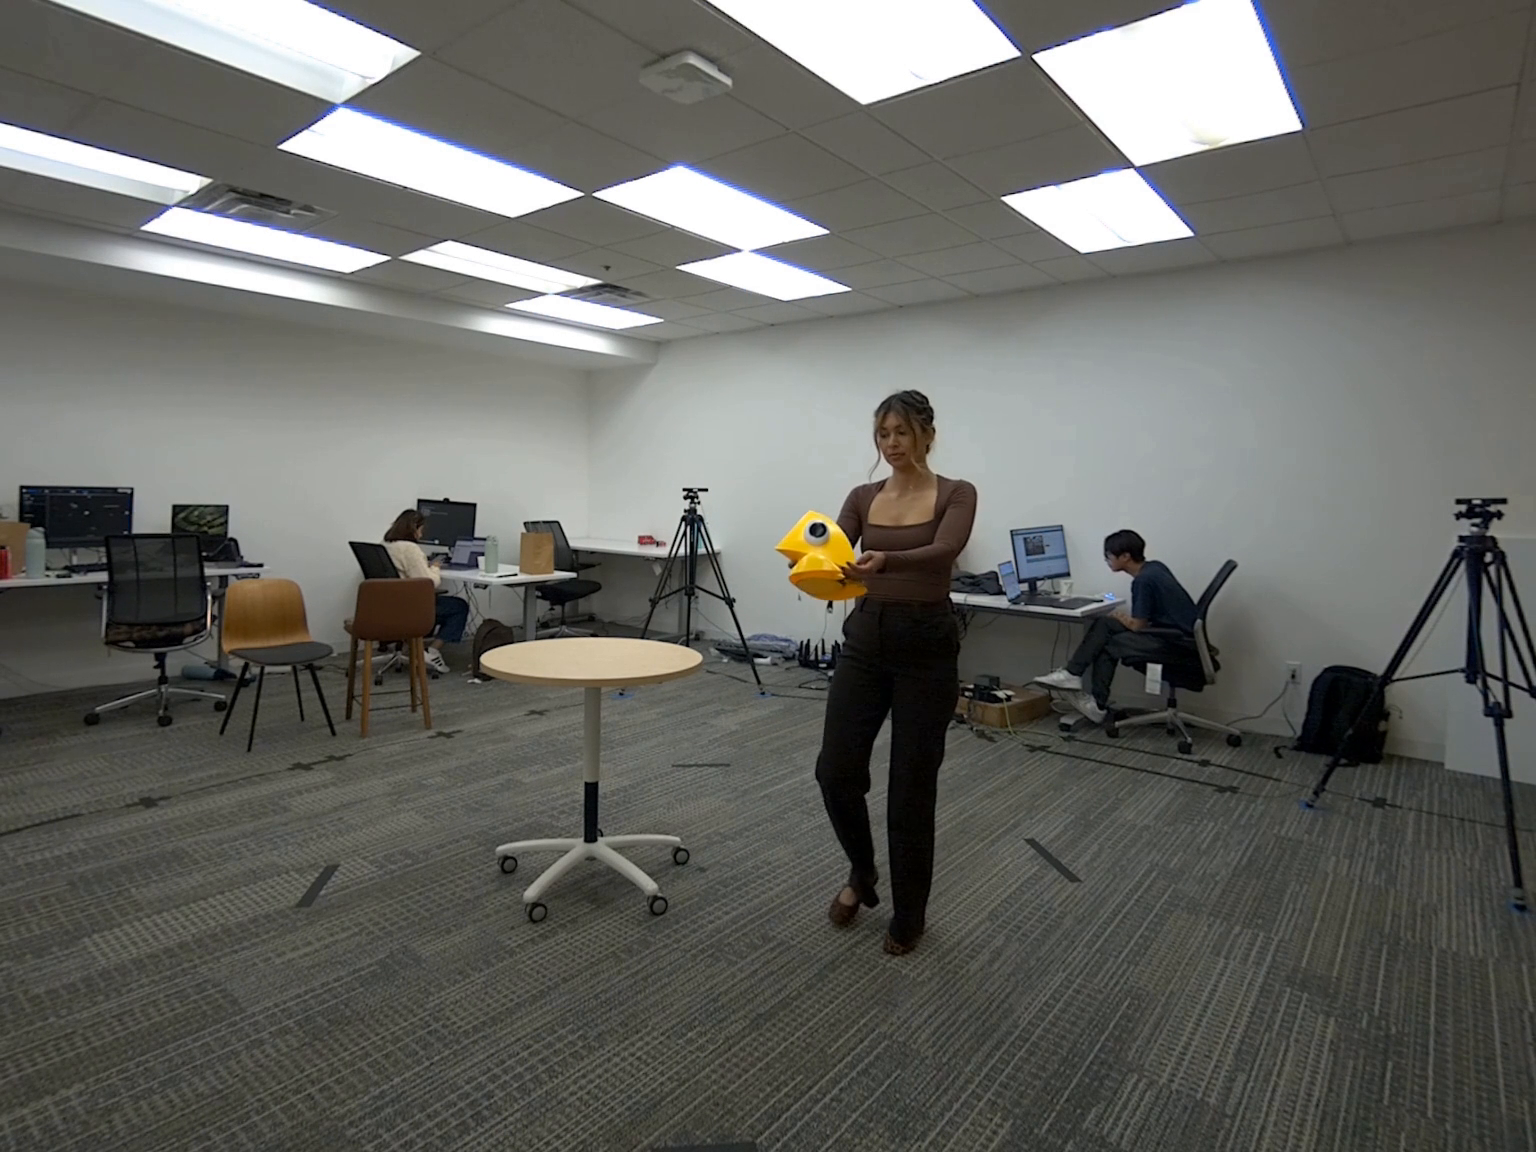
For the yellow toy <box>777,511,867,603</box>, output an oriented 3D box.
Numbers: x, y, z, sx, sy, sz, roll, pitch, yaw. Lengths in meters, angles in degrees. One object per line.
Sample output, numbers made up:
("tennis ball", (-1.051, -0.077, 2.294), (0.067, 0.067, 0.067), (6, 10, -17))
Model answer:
("yellow toy", (0.153, -0.084, 2.233), (0.198, 0.235, 0.196), (-11, -30, 36))
